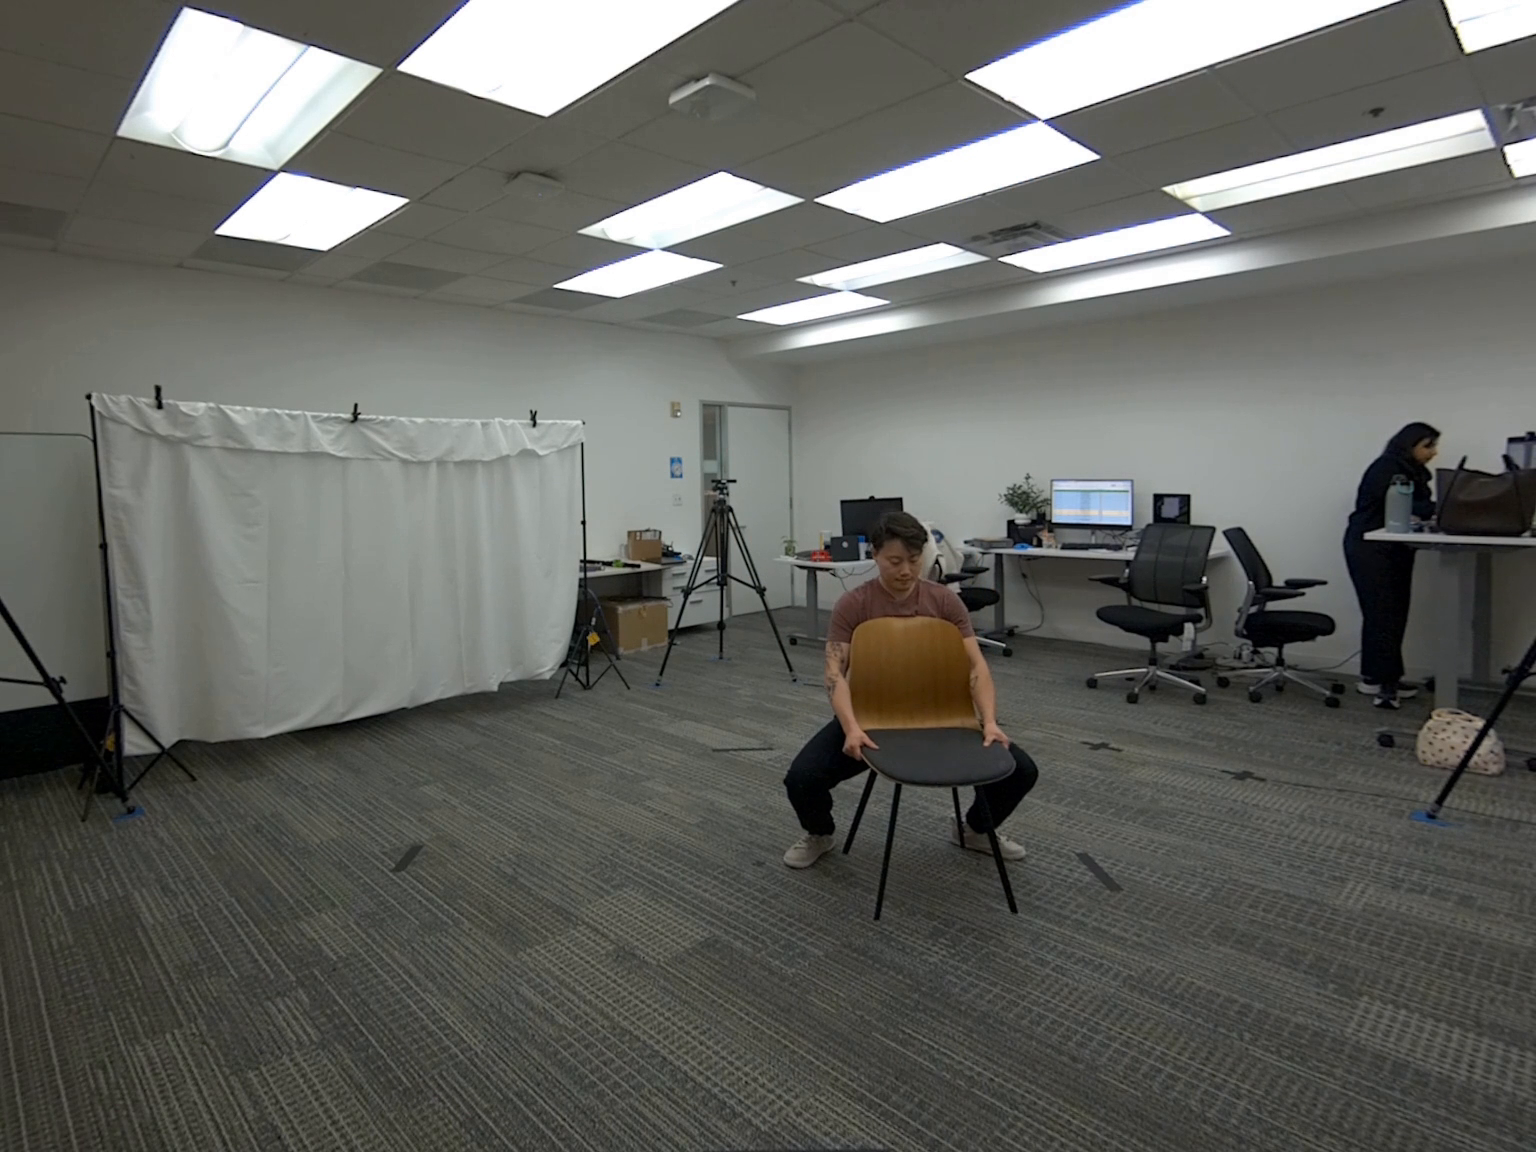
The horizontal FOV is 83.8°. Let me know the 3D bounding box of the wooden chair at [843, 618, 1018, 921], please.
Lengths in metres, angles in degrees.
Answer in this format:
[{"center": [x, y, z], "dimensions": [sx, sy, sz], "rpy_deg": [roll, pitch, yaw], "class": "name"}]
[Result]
[{"center": [0.521, 0.603, 2.797], "dimensions": [0.475, 0.876, 0.527], "rpy_deg": [0, 2, -6], "class": "wooden chair"}]
